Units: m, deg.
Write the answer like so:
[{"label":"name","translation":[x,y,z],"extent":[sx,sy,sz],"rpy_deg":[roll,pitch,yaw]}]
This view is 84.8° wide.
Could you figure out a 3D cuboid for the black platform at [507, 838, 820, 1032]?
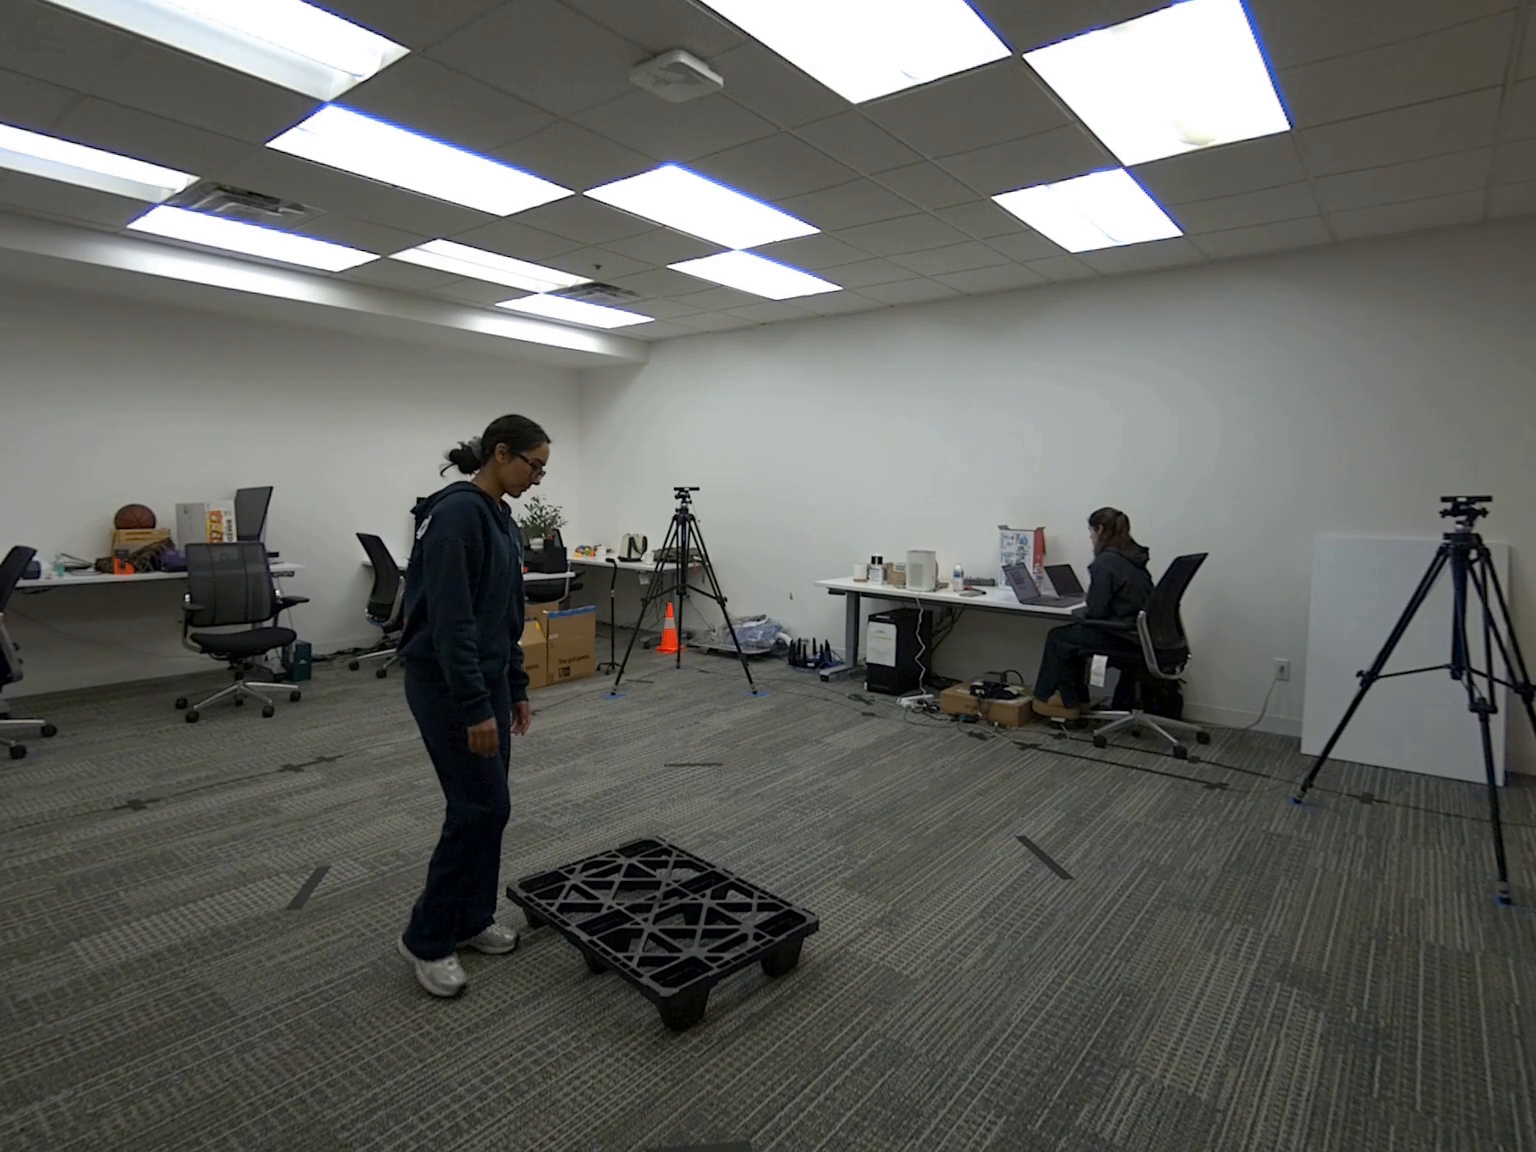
[{"label":"black platform","translation":[-0.345,1.048,2.593],"extent":[0.587,0.143,0.833],"rpy_deg":[-4,8,-44]}]
